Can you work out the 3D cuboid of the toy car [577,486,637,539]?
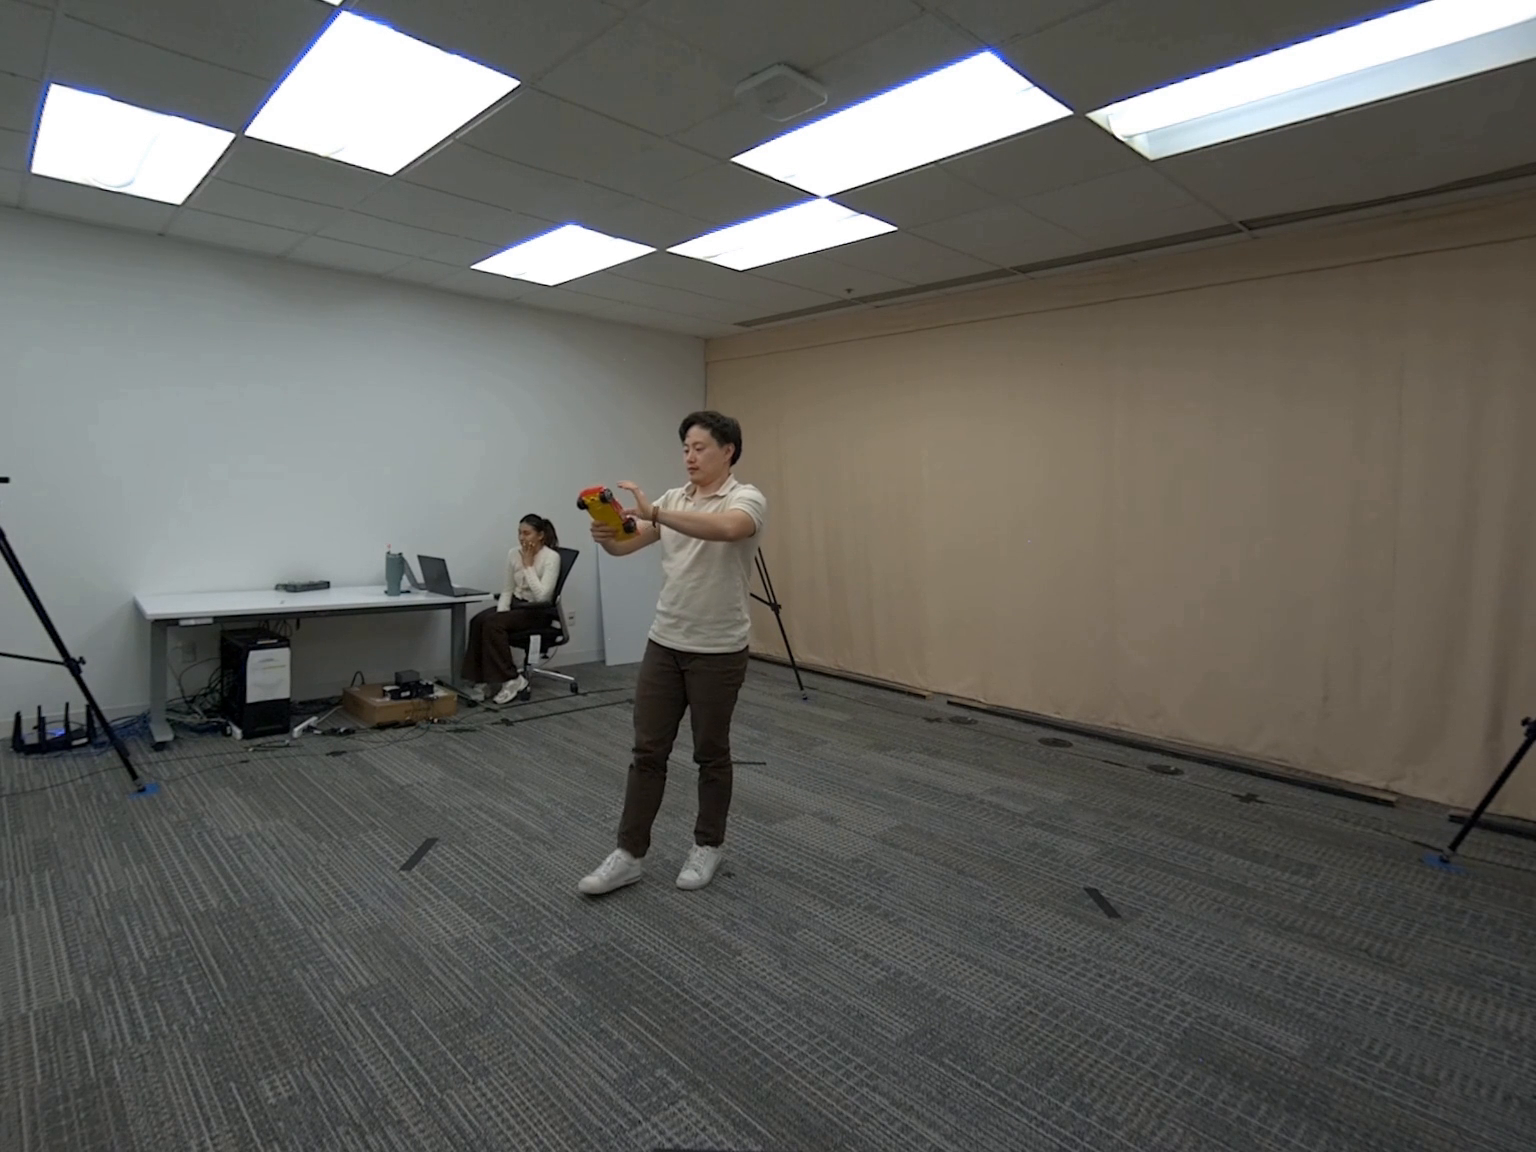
[{"bbox_3d":[-0.512,-0.190,2.746,0.132,0.085,0.246,-13,-35,23],"label":"toy car"}]
